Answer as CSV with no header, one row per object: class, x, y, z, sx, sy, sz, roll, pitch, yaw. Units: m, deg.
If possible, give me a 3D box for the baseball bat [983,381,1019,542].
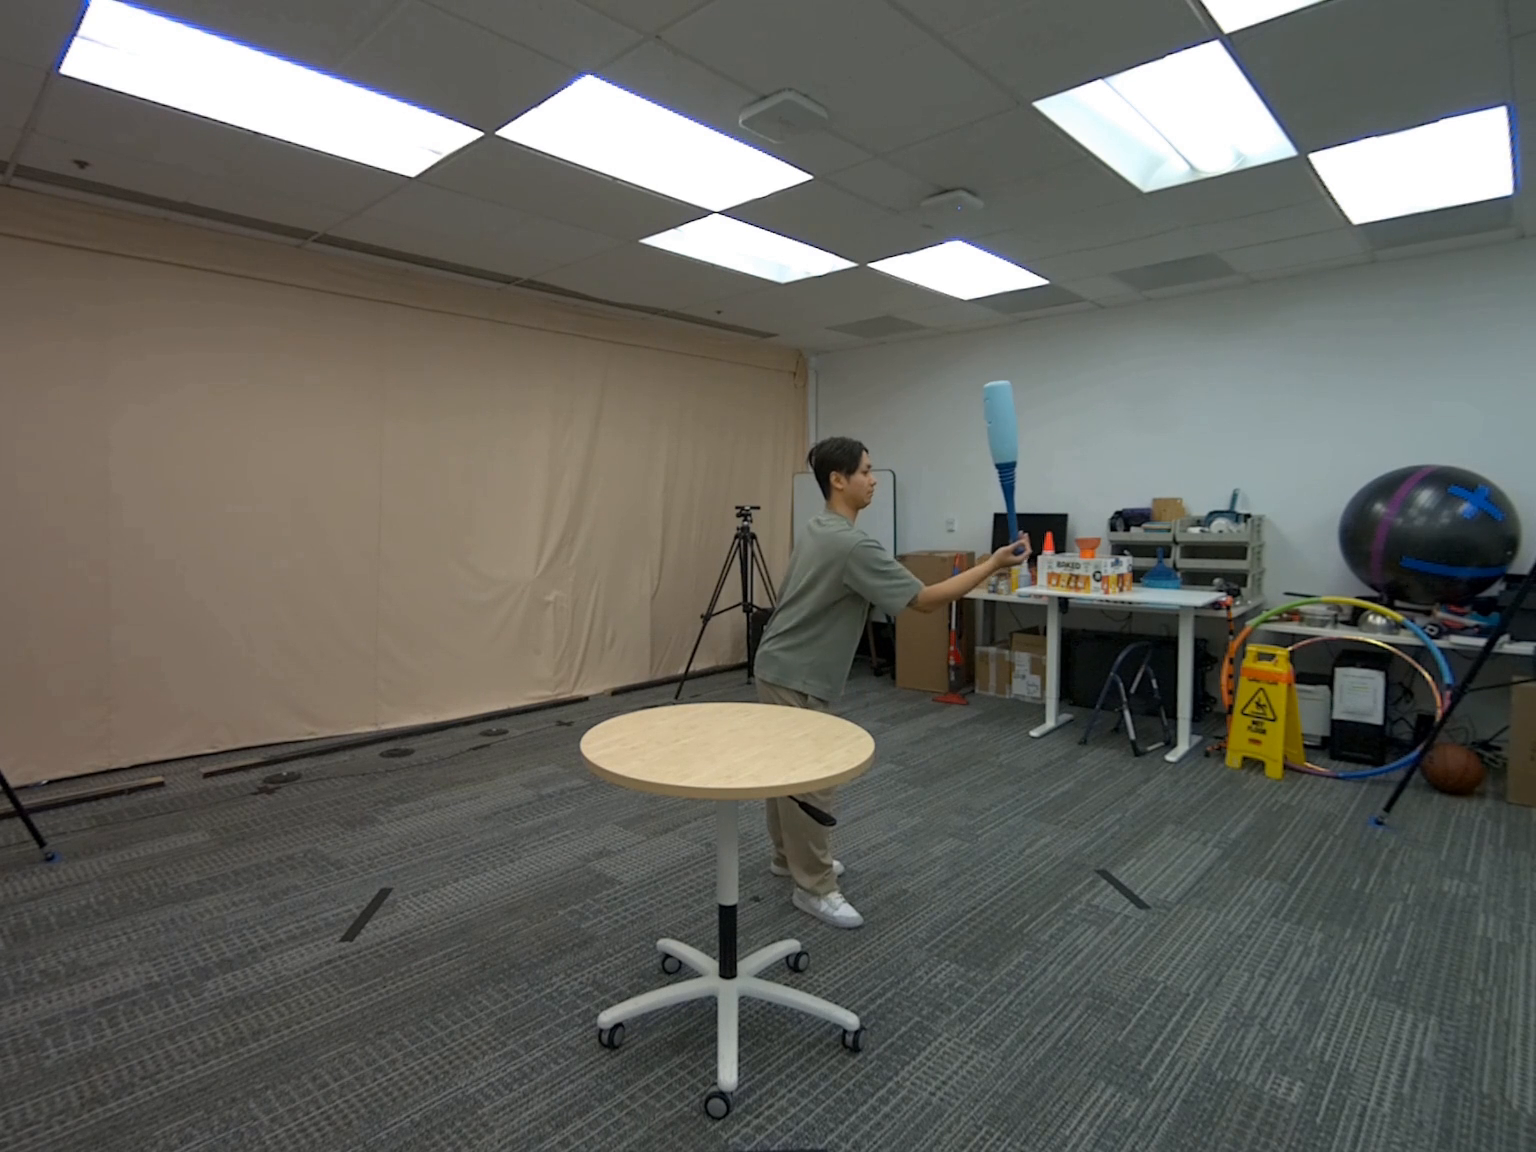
baseball bat,0.752,-0.329,2.625,0.089,0.541,0.089,-6,4,-1
